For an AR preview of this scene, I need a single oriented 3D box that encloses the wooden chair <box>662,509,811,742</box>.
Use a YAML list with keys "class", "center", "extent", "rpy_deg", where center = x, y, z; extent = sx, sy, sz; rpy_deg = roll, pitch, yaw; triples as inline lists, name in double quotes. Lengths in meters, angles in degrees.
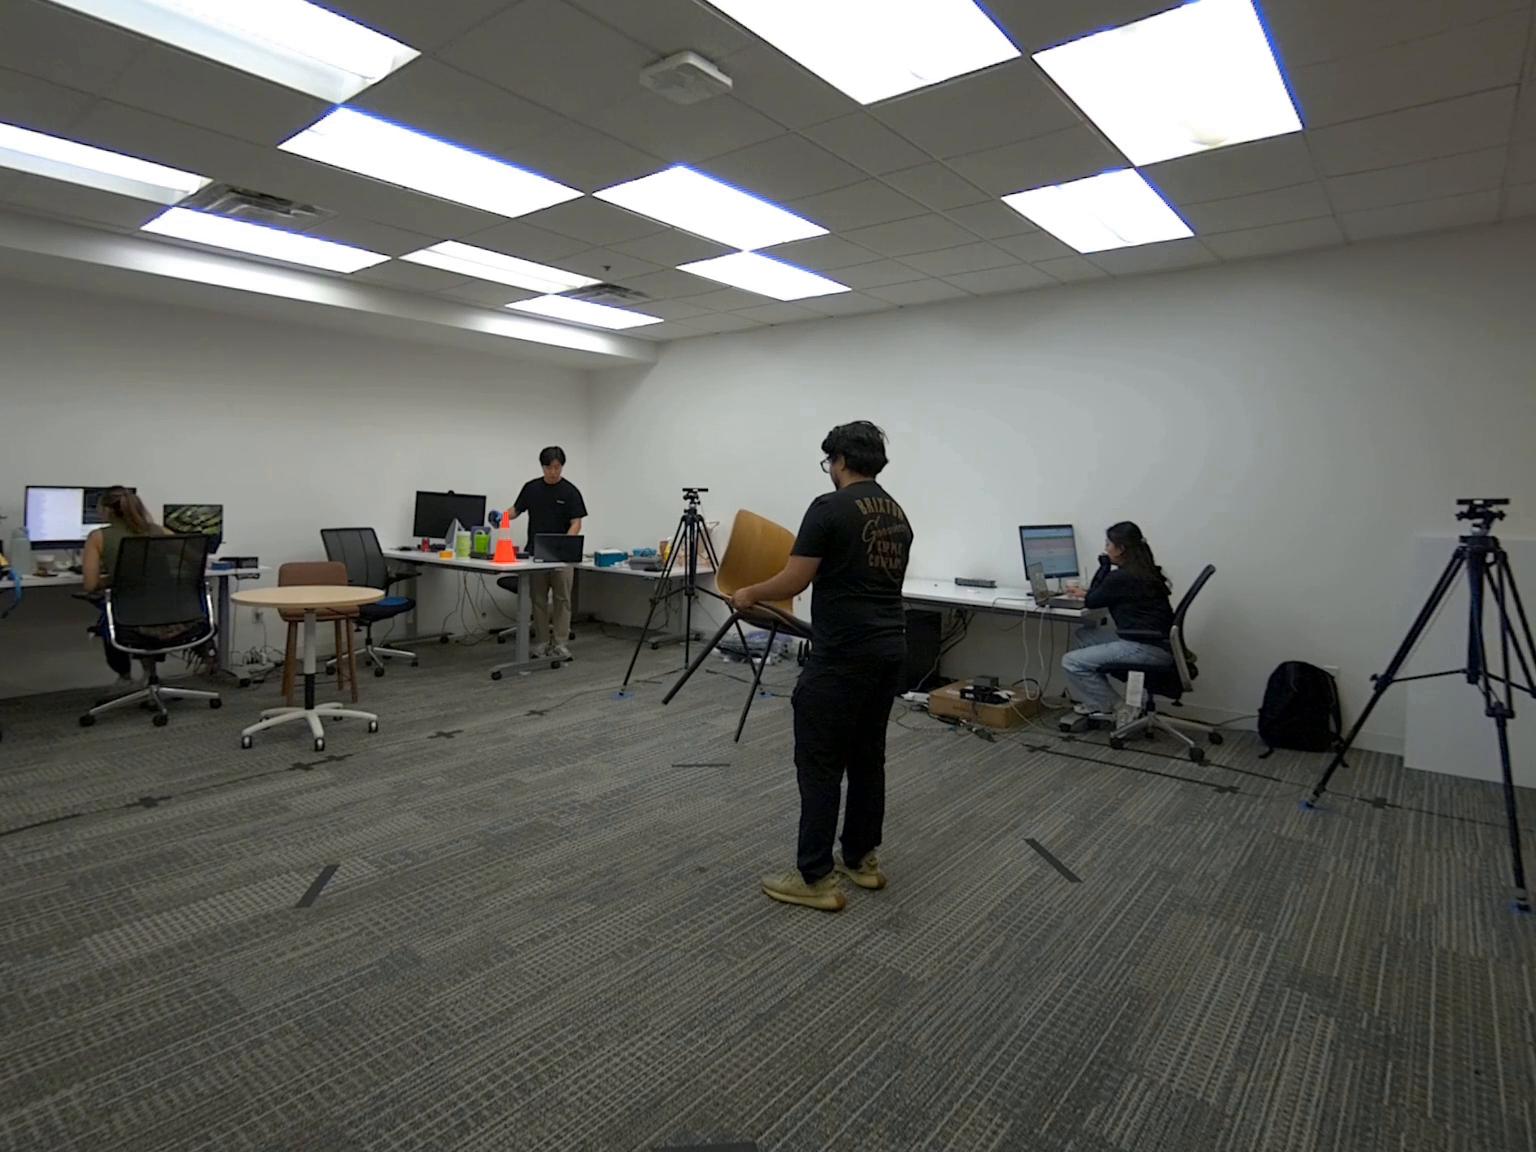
- class: "wooden chair"
  center: [0.016, 0.200, 3.311]
  extent: [0.459, 0.882, 0.542]
  rpy_deg: [23, -10, -42]
